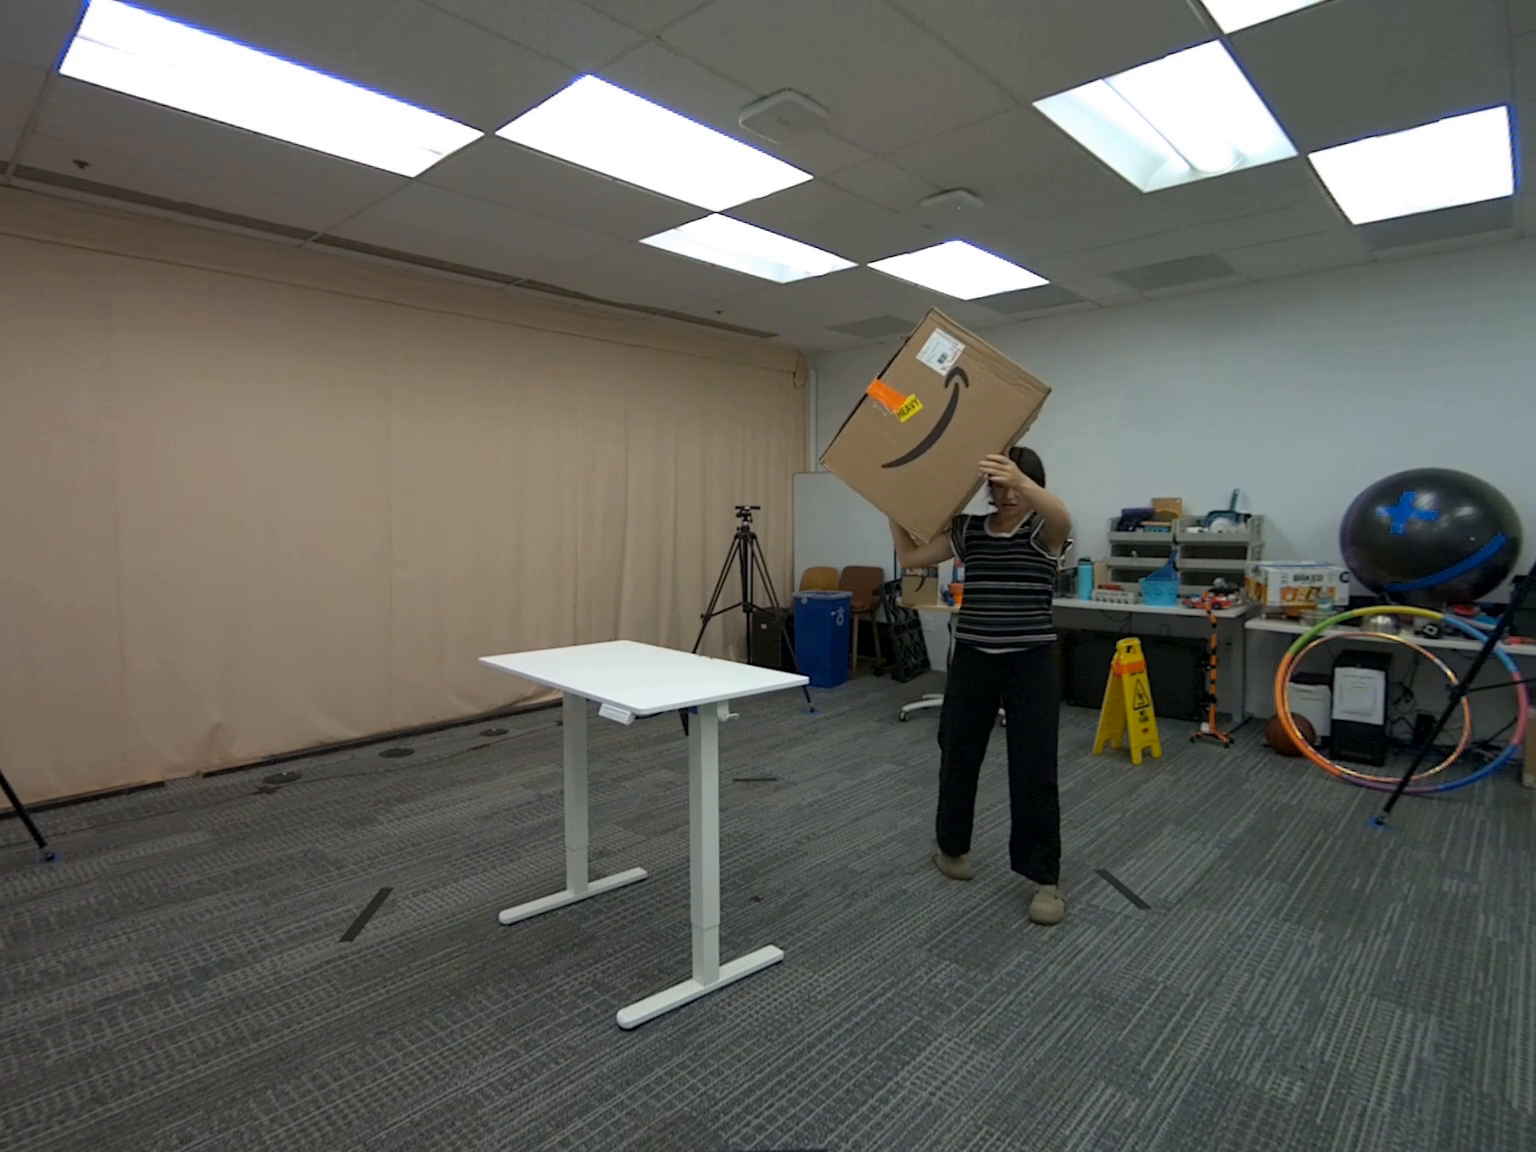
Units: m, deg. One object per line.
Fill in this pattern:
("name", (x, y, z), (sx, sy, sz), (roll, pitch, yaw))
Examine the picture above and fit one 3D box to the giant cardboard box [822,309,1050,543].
("giant cardboard box", (0.612, -0.491, 2.992), (0.432, 0.578, 1.010), (39, 14, 9))
